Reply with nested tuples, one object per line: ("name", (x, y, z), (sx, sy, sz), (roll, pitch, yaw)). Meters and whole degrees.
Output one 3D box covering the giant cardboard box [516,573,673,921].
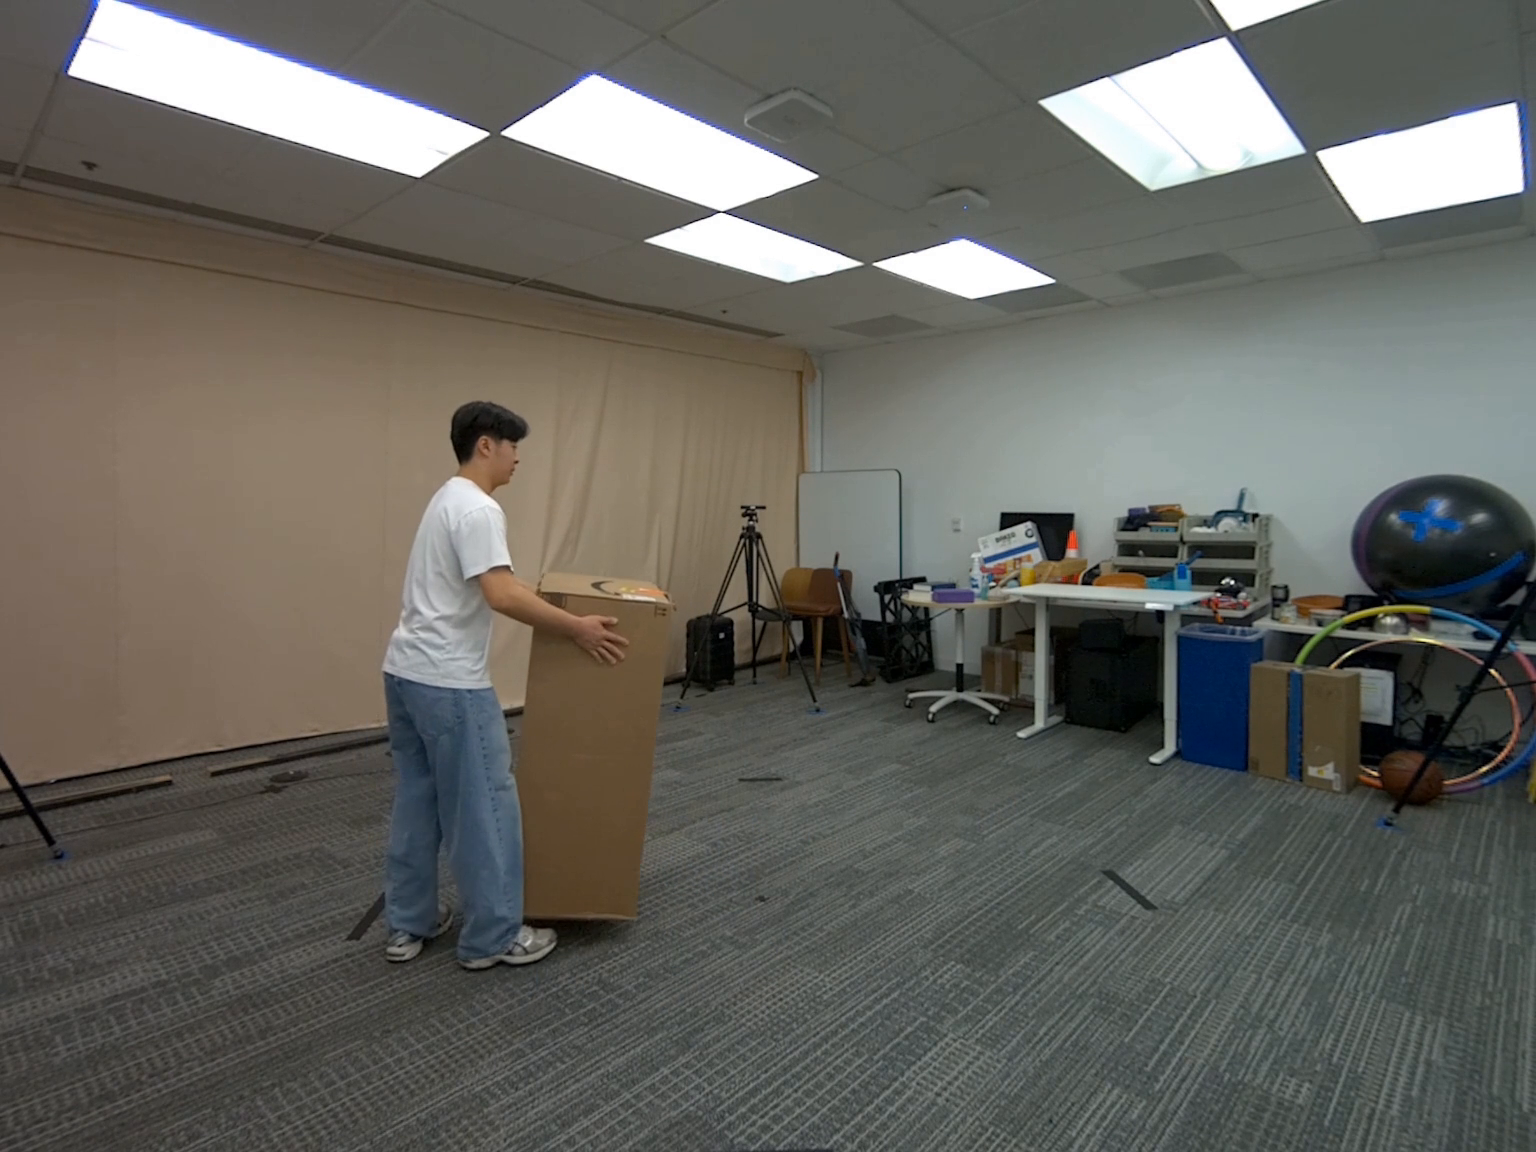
("giant cardboard box", (-0.607, 0.544, 2.896), (0.421, 1.024, 0.586), (6, 3, -13))
